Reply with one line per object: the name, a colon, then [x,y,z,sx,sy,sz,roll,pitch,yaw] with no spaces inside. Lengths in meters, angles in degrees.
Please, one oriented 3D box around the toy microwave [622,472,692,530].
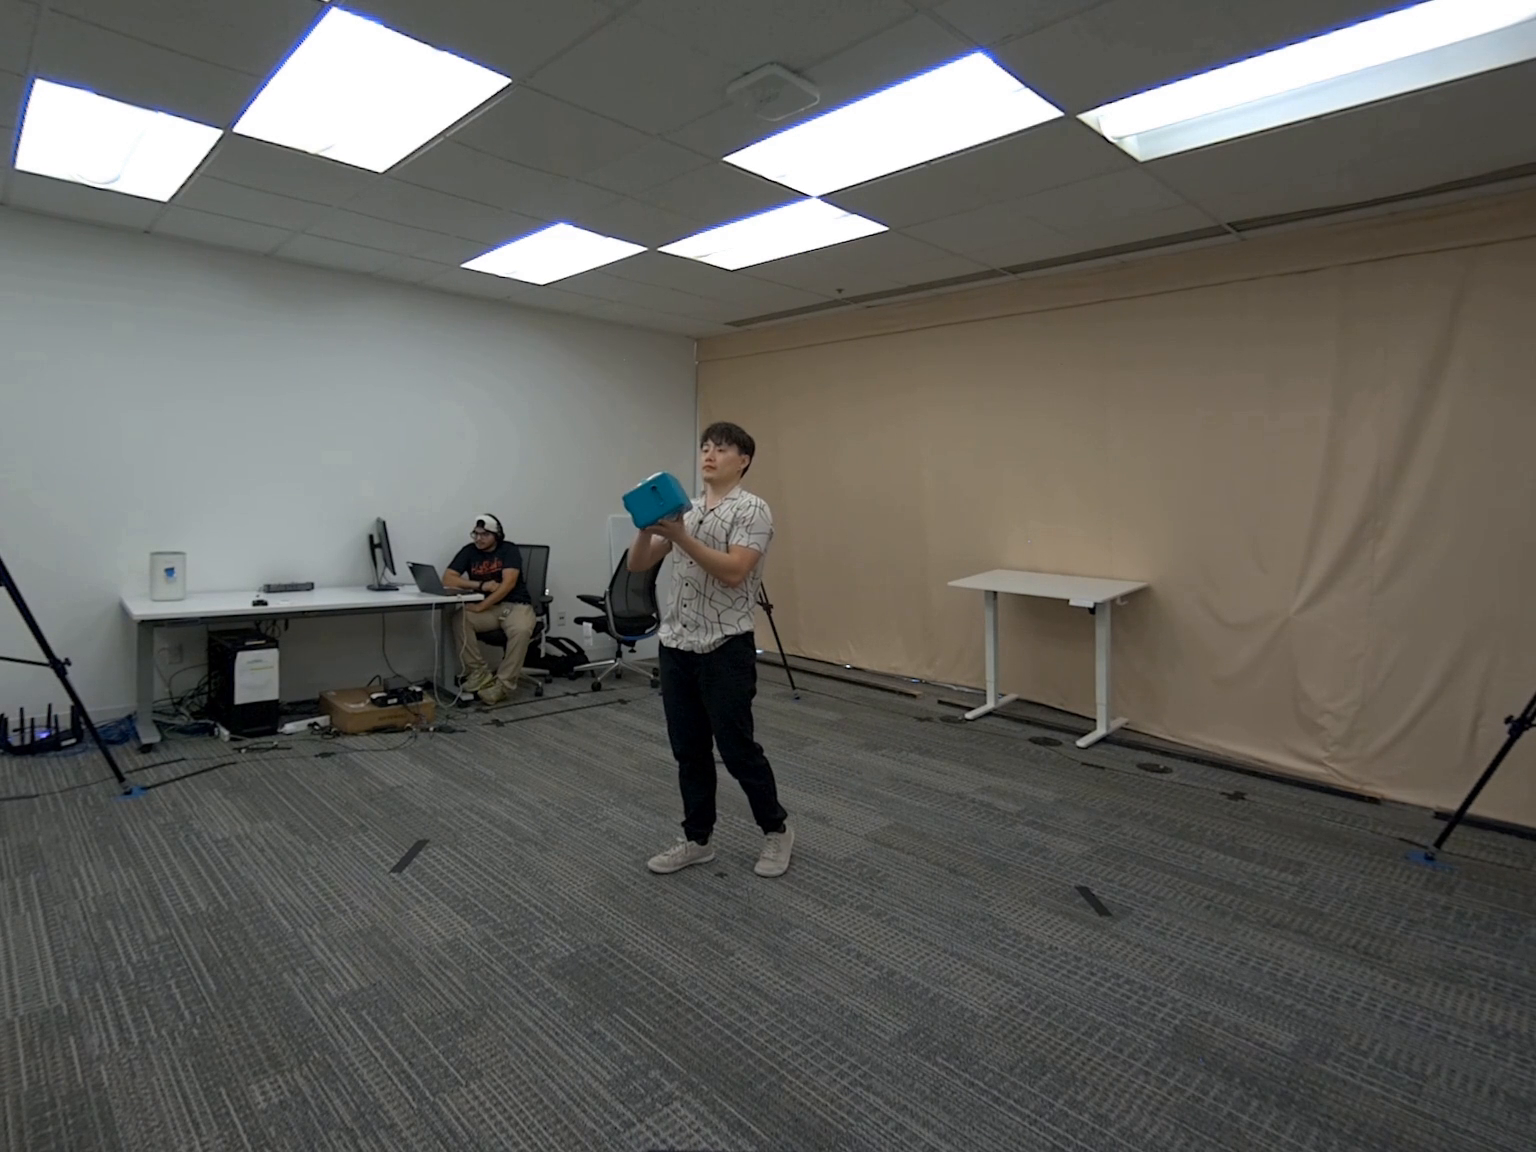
toy microwave: [-0.392,-0.260,2.887,0.184,0.153,0.285,-29,-1,4]
